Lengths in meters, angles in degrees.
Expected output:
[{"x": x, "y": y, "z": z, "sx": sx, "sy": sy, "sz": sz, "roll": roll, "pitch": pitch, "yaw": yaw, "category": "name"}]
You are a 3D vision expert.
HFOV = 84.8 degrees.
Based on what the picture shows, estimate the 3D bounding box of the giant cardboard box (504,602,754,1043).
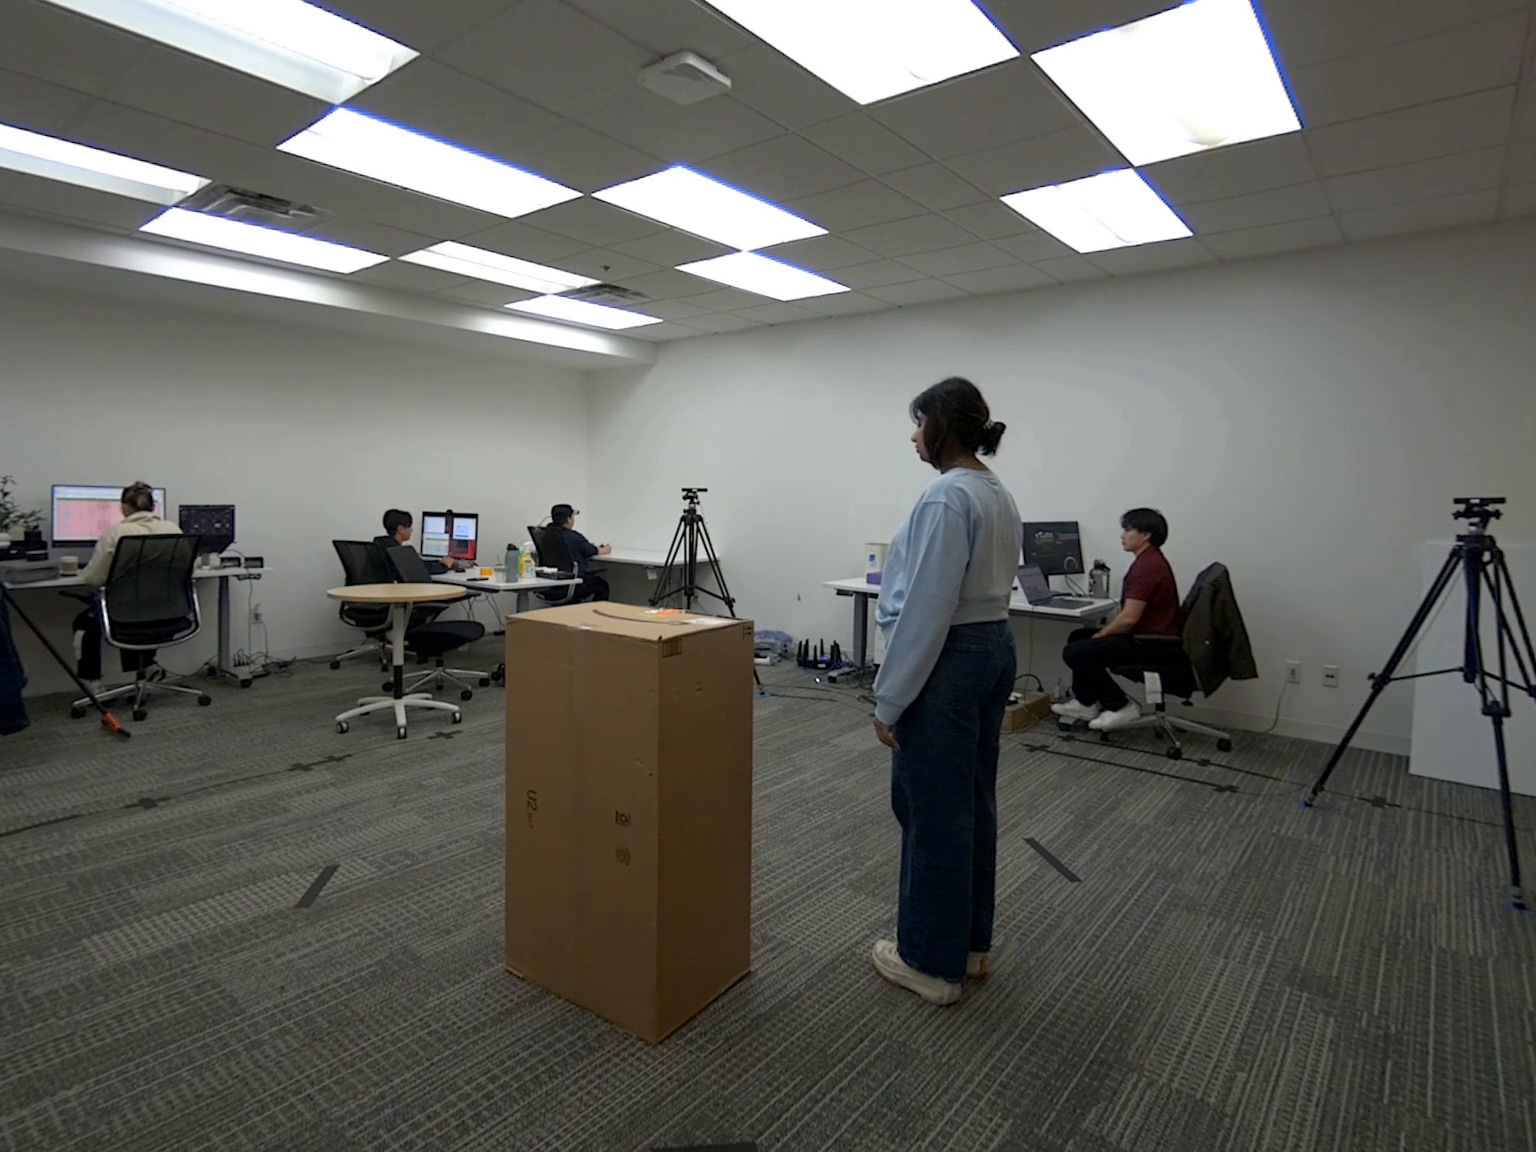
[{"x": -0.404, "y": 0.623, "z": 2.430, "sx": 0.602, "sy": 1.025, "sz": 0.434, "roll": 3, "pitch": 3, "yaw": 35, "category": "giant cardboard box"}]
